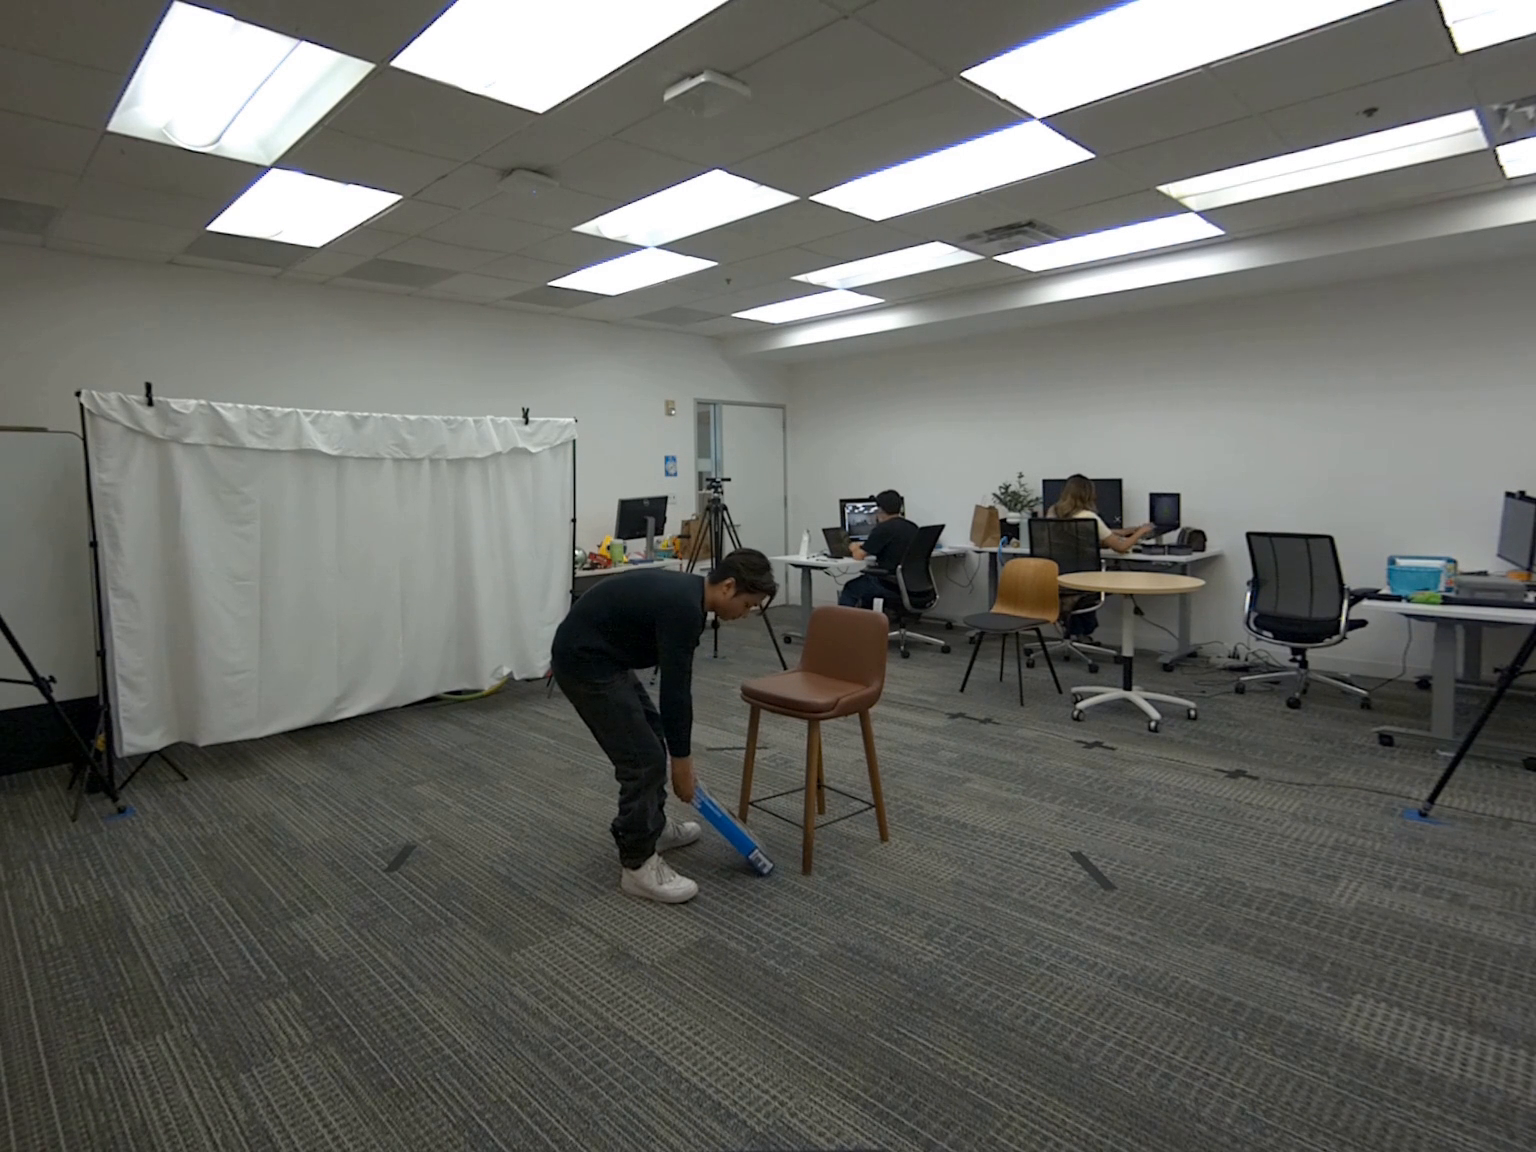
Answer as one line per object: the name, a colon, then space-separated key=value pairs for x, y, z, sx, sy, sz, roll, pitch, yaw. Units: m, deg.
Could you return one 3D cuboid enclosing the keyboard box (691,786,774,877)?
keyboard box: x=-0.151 y=0.863 z=3.035 sx=0.059 sy=0.432 sz=0.178 roll=-41 pitch=9 yaw=-6
